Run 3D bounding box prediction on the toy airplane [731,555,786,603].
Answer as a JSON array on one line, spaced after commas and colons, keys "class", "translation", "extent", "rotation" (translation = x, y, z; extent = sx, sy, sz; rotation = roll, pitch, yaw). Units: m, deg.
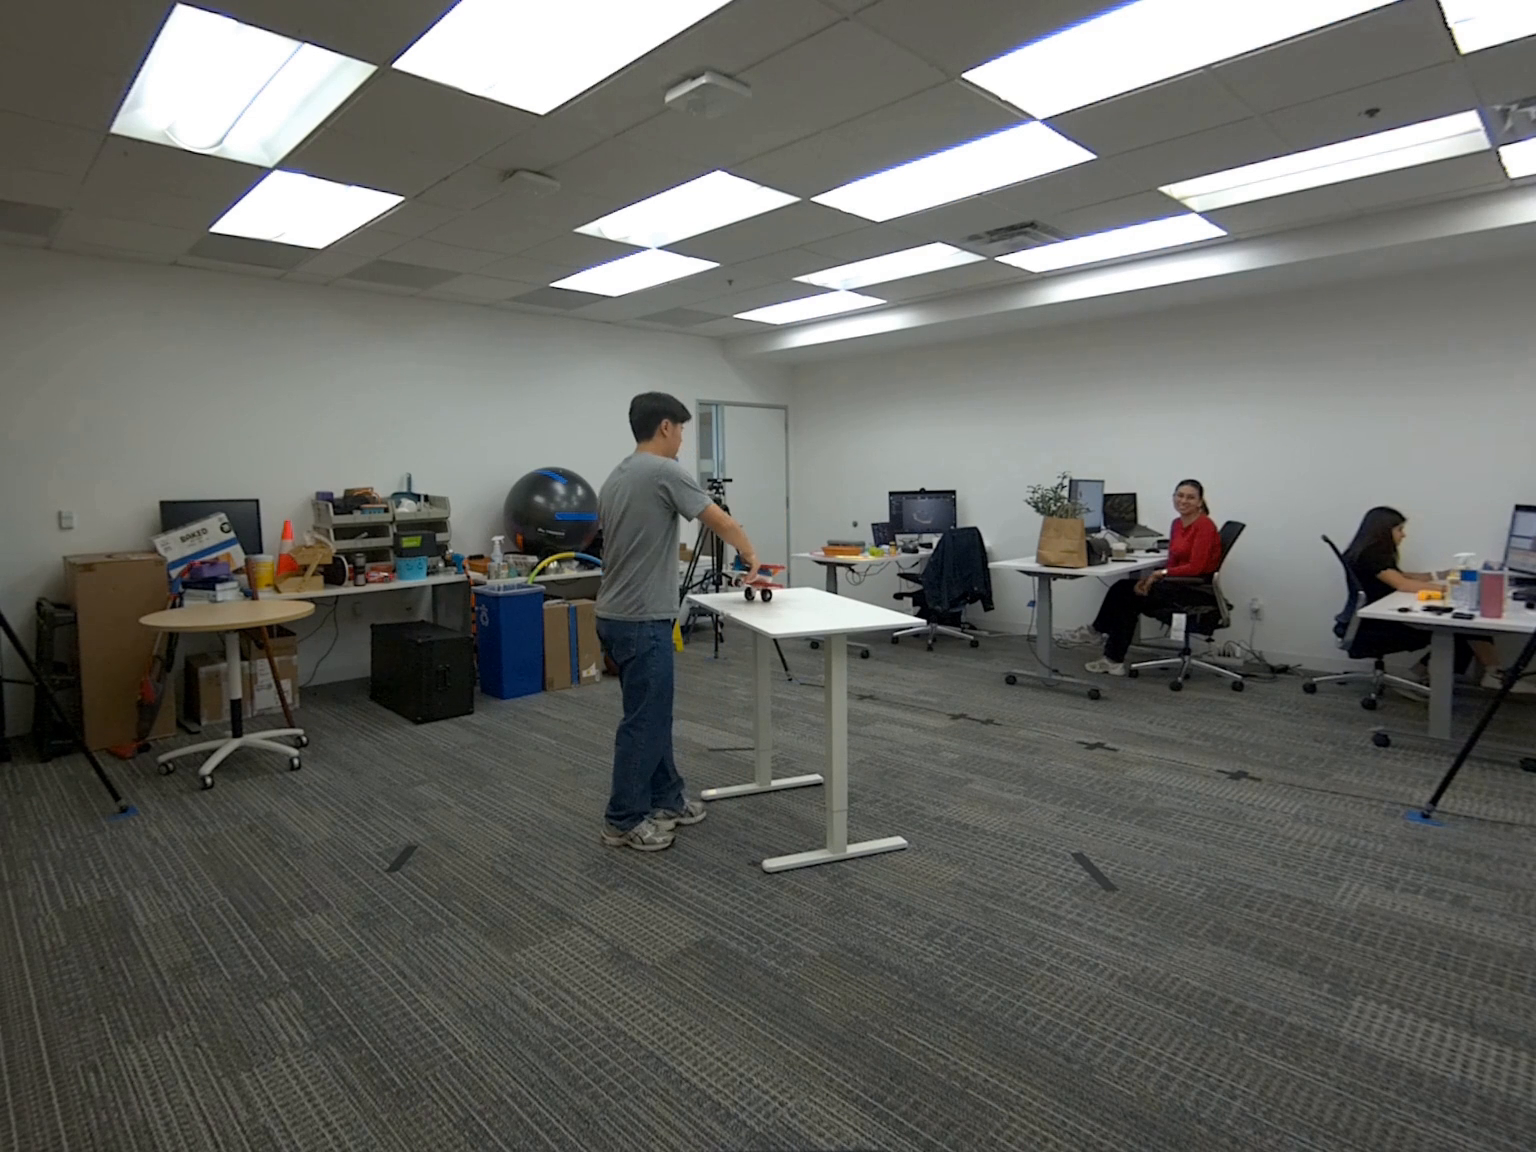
[{"class": "toy airplane", "translation": [-0.058, 0.006, 3.533], "extent": [0.254, 0.158, 0.253], "rotation": [11, -17, 9]}]
